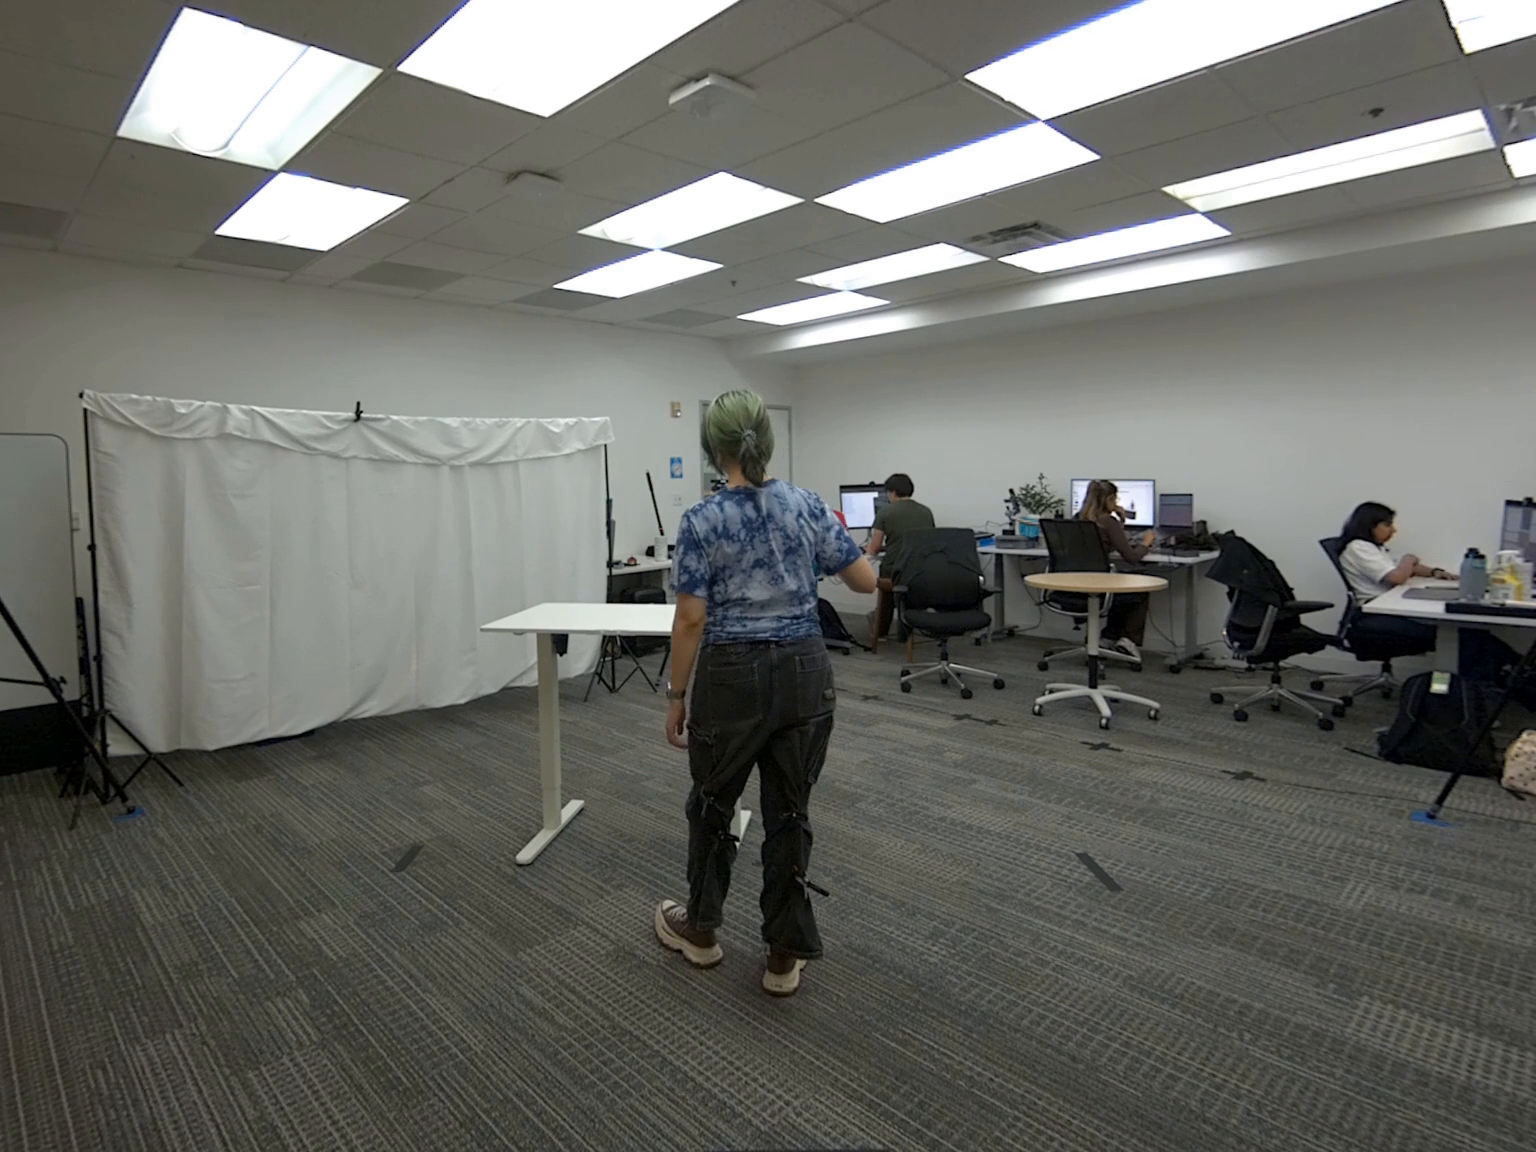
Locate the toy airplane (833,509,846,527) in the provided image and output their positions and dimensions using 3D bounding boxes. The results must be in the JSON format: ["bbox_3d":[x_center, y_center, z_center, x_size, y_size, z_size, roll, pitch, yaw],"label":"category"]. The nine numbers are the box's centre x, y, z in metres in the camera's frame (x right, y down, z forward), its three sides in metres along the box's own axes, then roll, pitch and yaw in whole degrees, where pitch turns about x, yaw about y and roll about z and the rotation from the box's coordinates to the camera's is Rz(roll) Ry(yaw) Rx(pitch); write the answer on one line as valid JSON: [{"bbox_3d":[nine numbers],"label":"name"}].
[{"bbox_3d":[0.146,-0.110,2.755,0.249,0.152,0.269,-28,53,-23],"label":"toy airplane"}]
